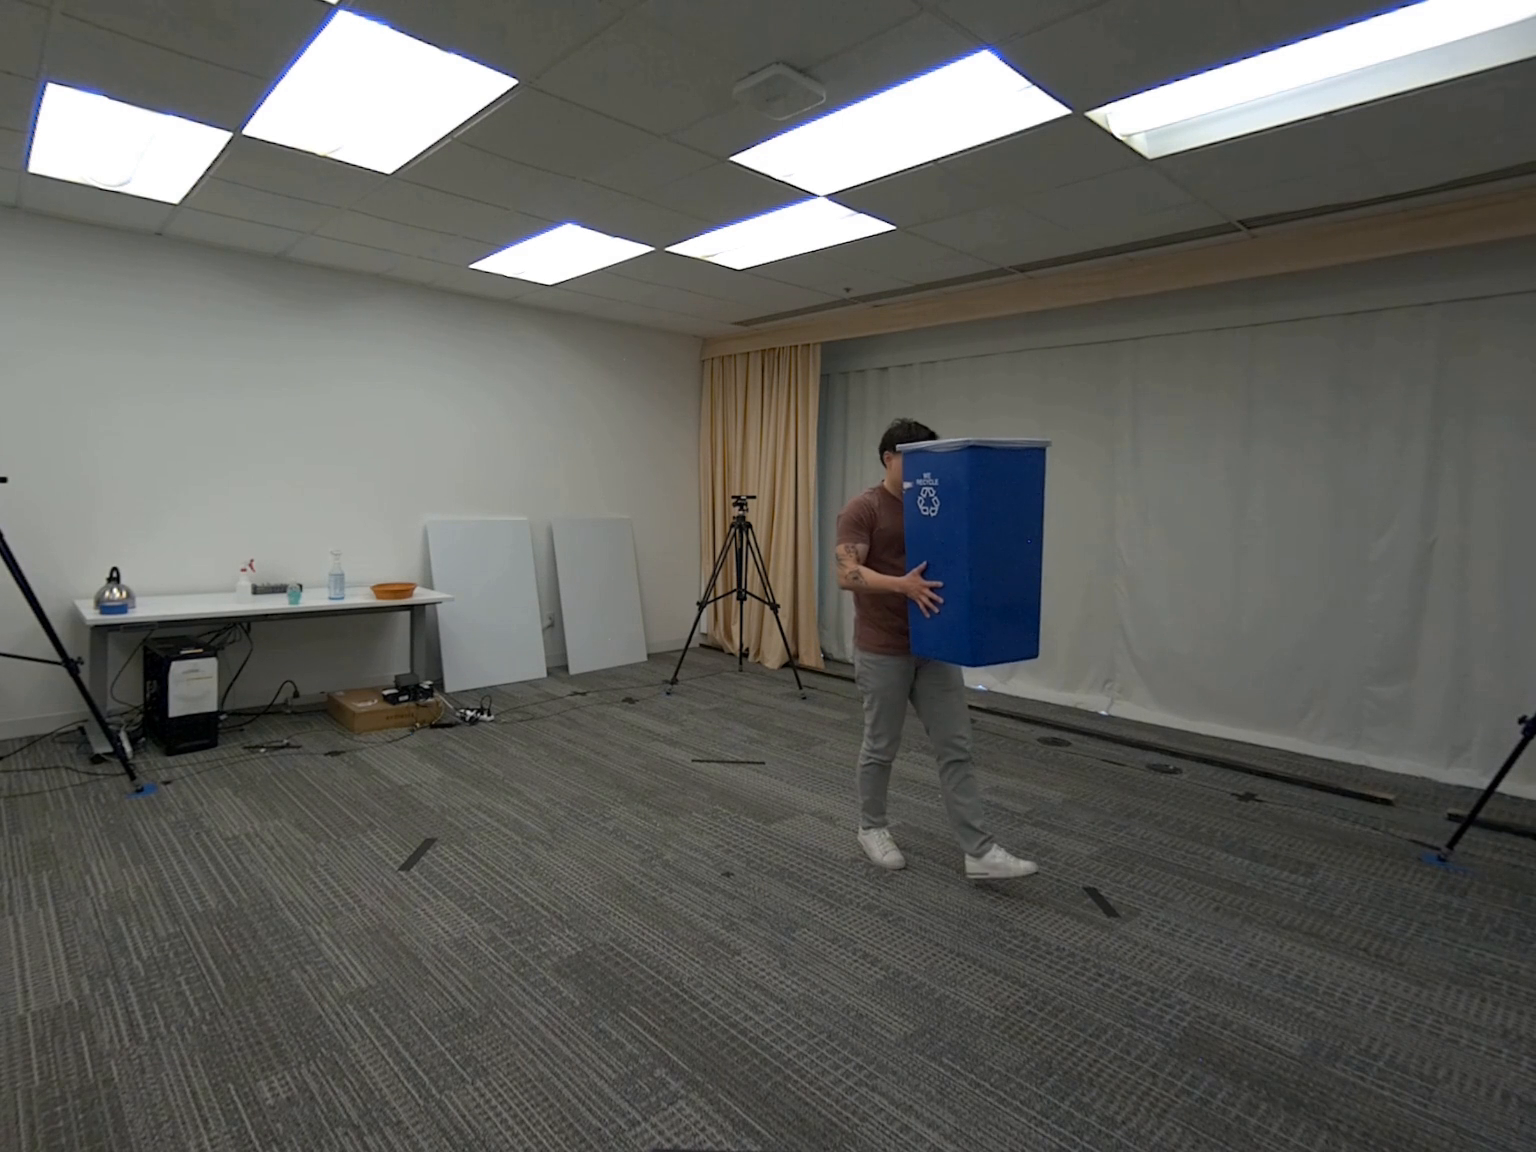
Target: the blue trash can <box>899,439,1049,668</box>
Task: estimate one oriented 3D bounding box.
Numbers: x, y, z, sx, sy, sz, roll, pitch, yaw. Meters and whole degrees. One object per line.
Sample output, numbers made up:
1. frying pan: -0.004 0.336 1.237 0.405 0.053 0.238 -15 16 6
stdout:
1. blue trash can: 0.682 -0.087 2.791 0.371 0.712 0.382 -3 3 -29
